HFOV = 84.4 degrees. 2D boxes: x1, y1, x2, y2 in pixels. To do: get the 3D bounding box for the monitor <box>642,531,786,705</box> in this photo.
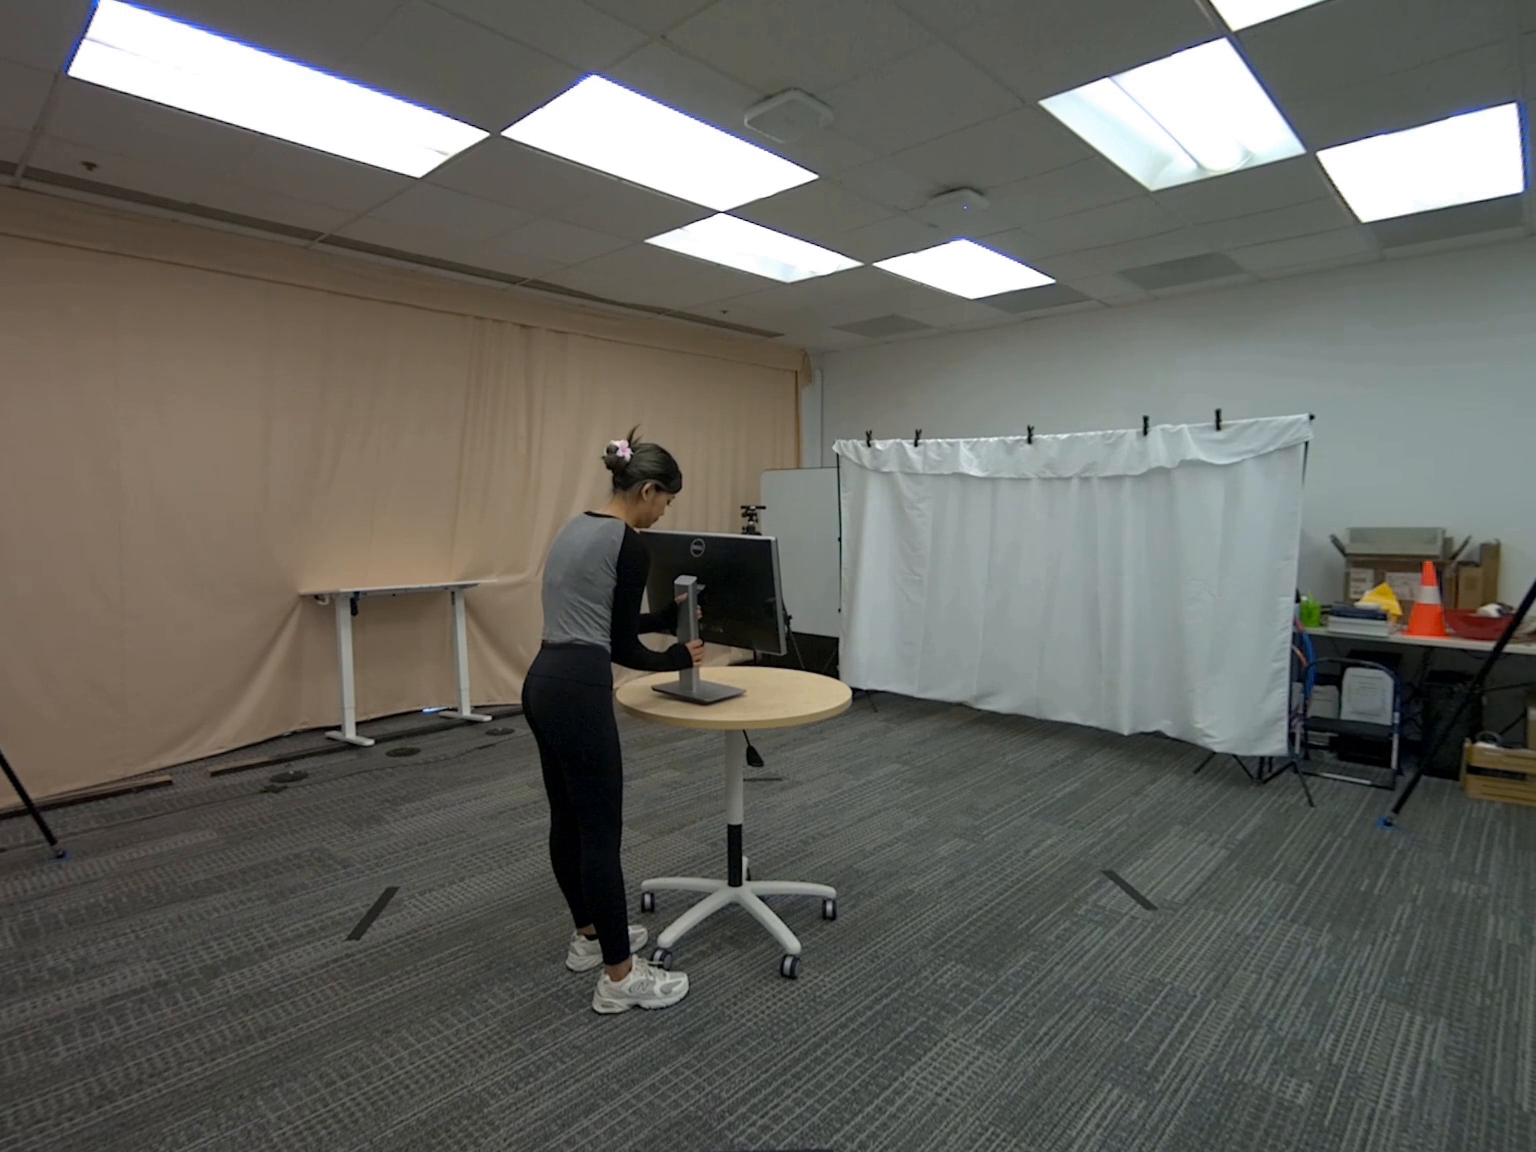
[{"bbox_3d":[-0.204,0.124,2.658,0.547,0.516,0.169,4,-3,38],"label":"monitor"}]
